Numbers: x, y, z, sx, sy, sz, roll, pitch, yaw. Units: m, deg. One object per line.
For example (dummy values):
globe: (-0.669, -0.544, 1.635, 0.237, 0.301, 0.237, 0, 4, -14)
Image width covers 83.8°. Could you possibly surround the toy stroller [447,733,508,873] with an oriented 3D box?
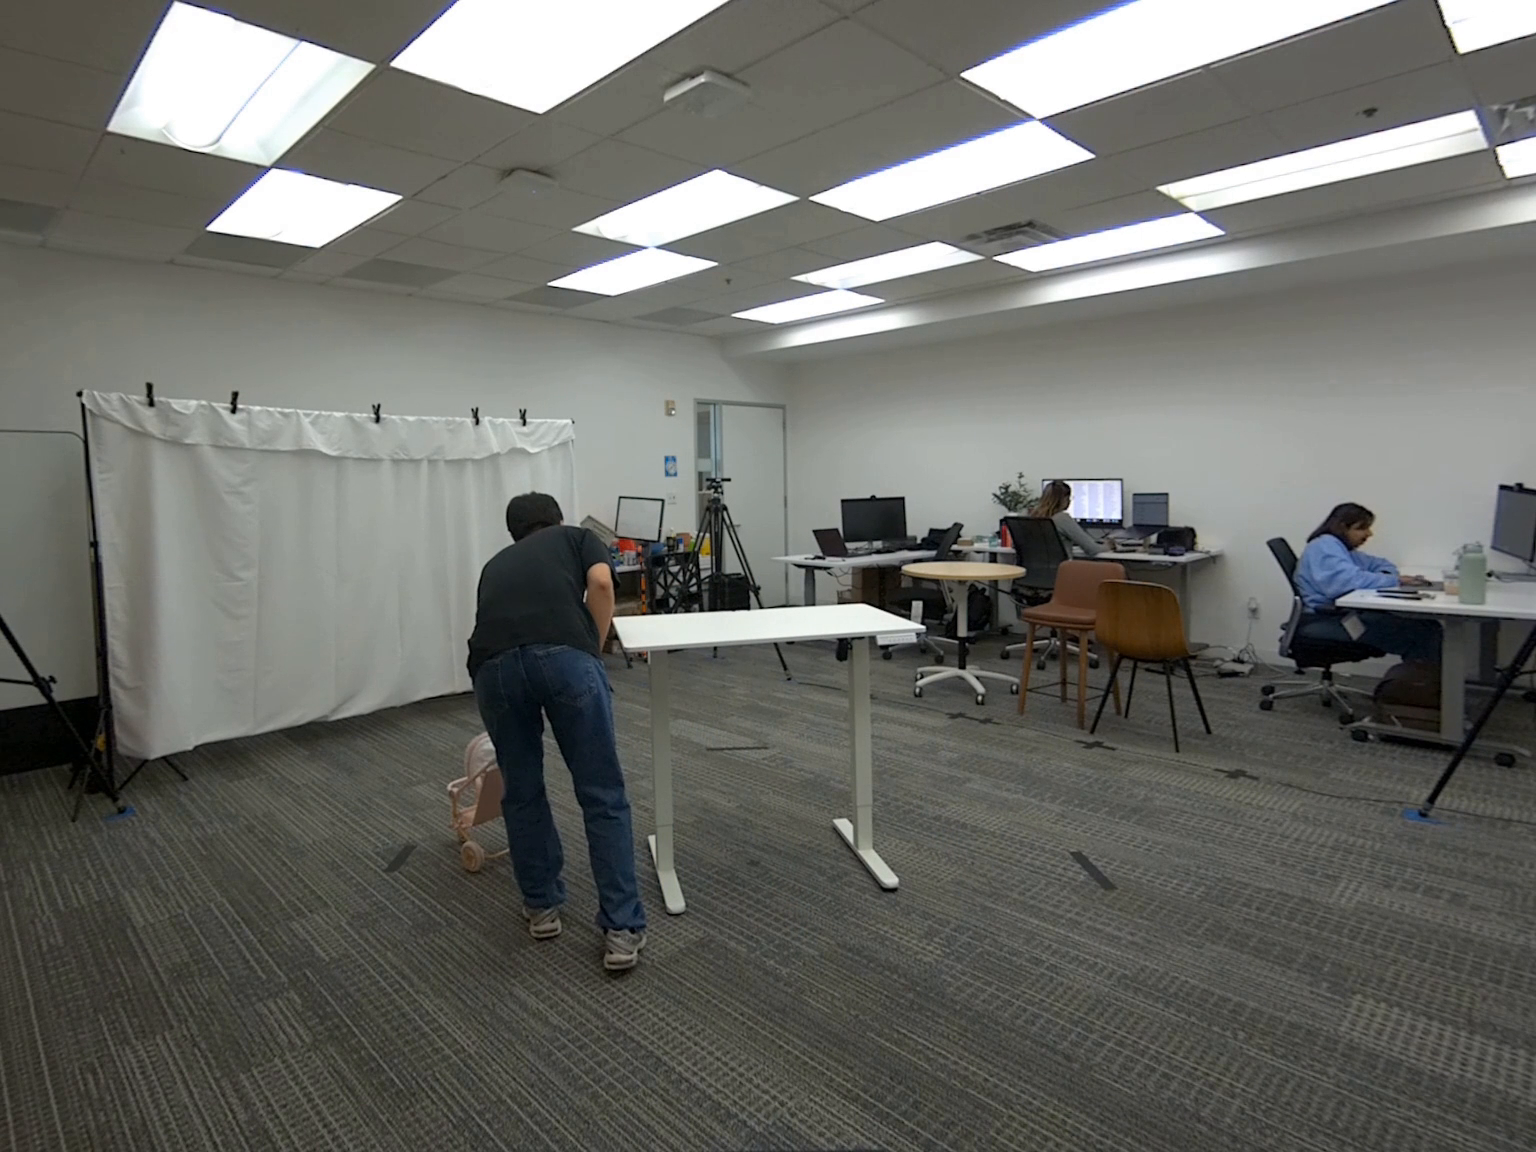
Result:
toy stroller: (-1.072, 0.828, 3.215, 0.353, 0.530, 0.274, 19, 15, 36)
